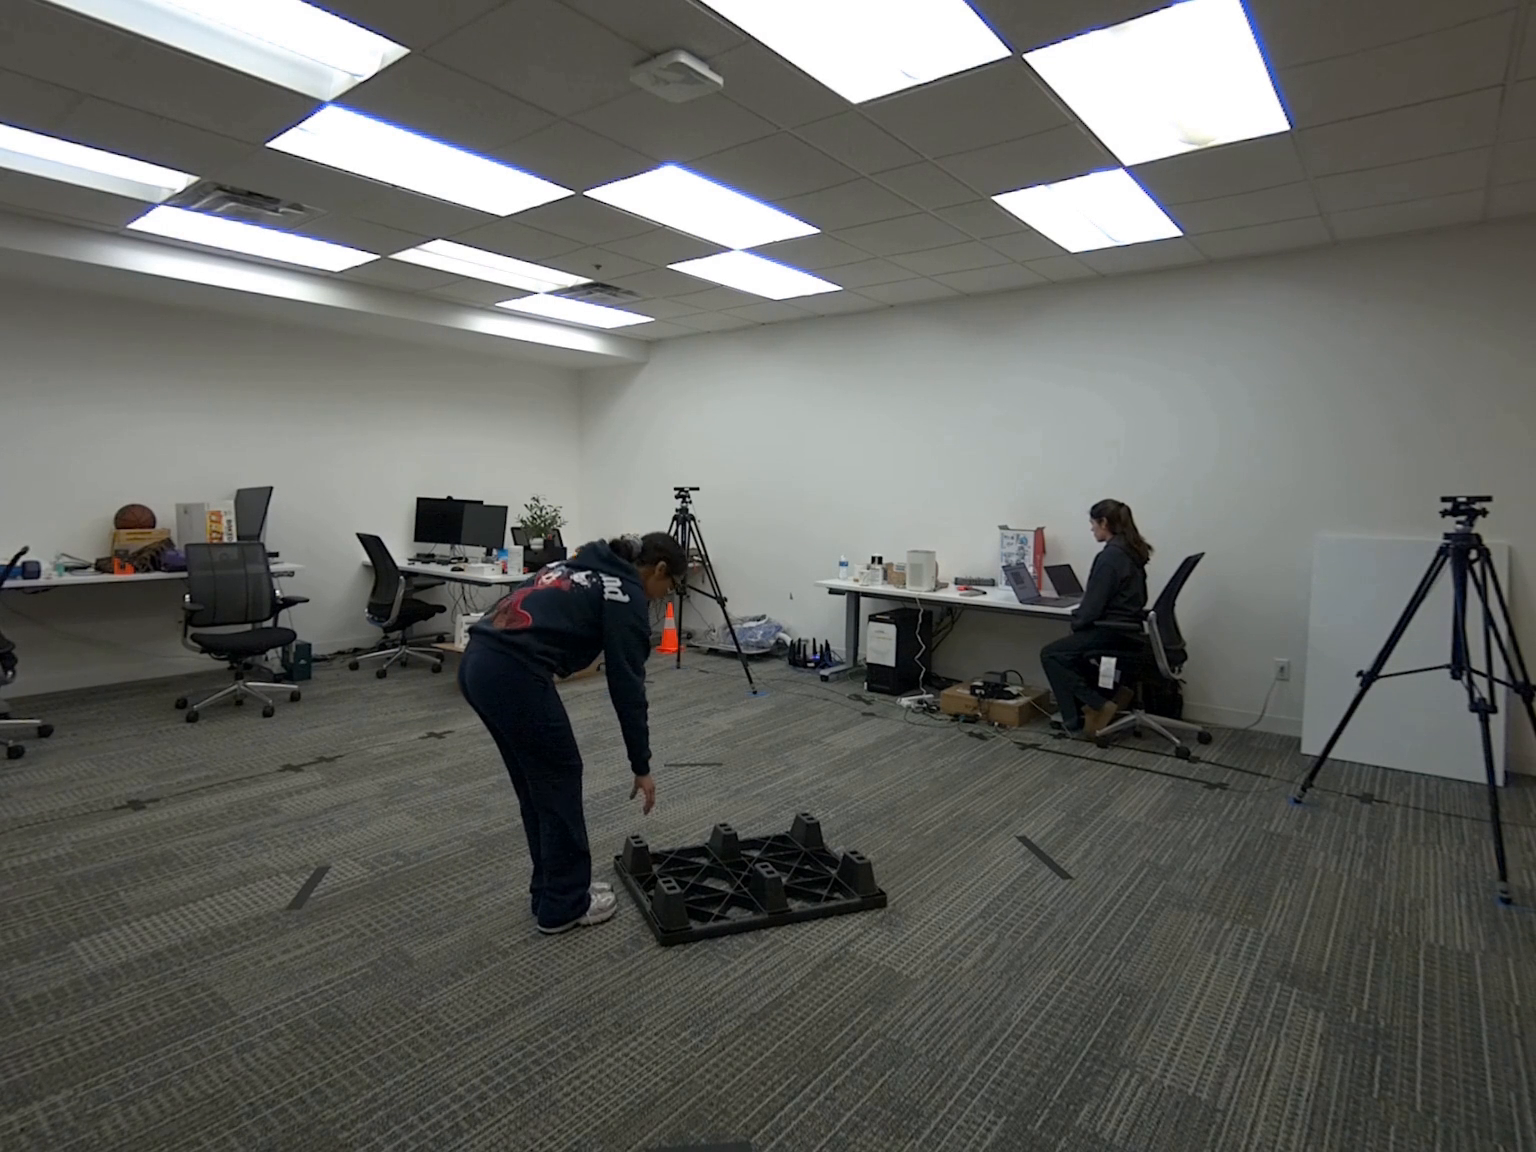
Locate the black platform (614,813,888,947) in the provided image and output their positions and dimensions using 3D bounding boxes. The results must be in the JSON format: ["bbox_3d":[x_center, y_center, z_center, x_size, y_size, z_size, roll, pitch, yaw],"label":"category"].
[{"bbox_3d":[-0.088,1.010,2.981,0.788,0.143,0.621,-1,6,-23],"label":"black platform"}]
